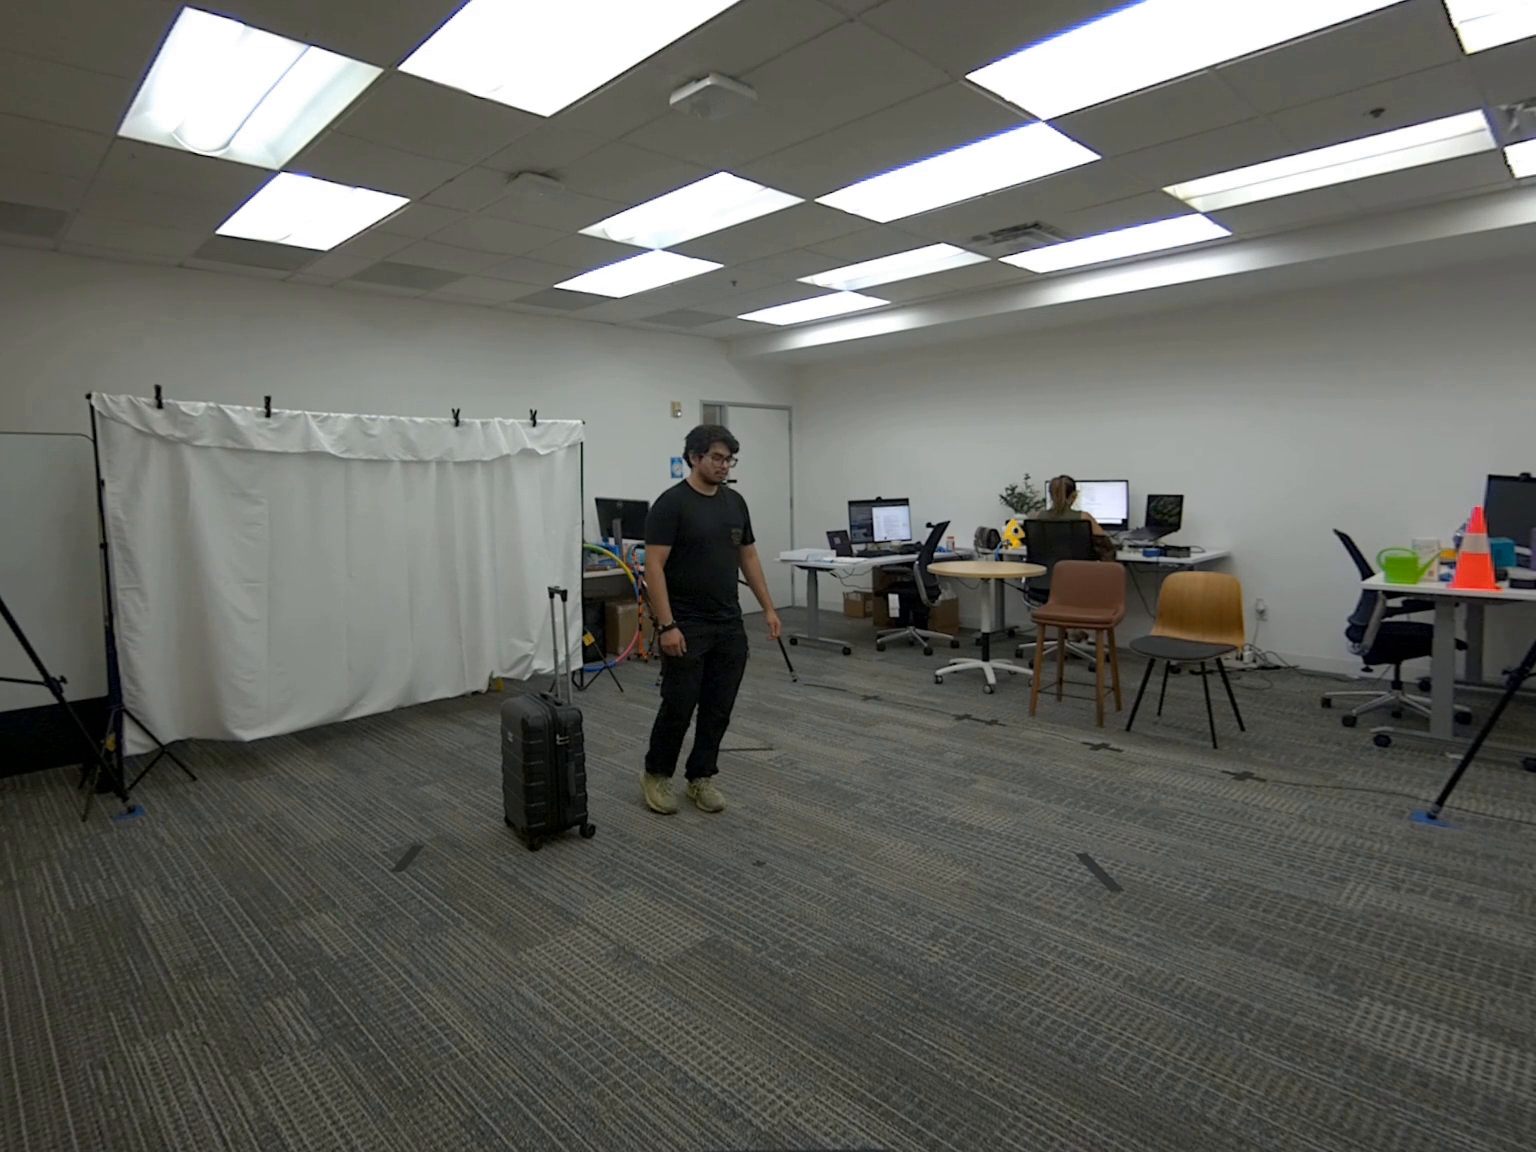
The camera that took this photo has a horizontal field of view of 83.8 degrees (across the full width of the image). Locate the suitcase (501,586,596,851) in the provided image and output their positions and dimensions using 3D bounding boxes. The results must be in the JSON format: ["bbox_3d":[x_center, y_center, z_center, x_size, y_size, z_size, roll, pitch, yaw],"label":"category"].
[{"bbox_3d":[-0.909,0.554,3.397,0.251,0.974,0.395,-6,6,-31],"label":"suitcase"}]
